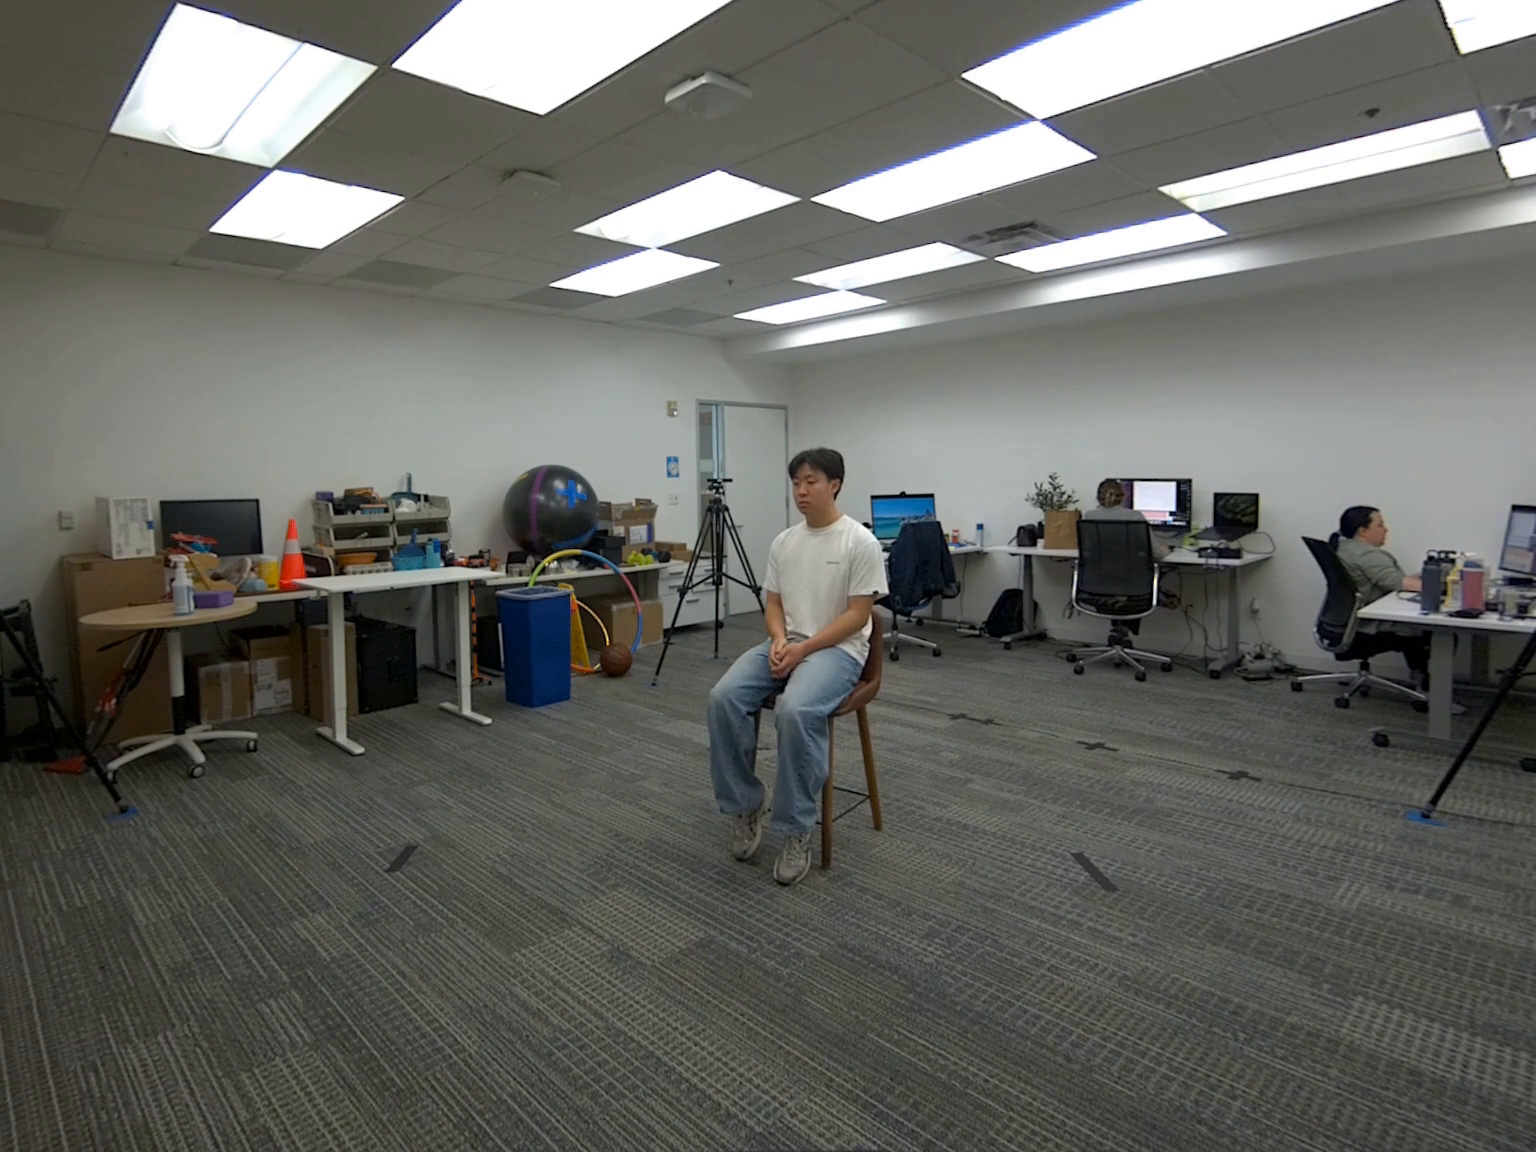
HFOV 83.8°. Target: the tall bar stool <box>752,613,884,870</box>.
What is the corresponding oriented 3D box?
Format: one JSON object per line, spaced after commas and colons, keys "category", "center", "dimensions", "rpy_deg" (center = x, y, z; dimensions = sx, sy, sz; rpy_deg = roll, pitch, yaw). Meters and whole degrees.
{"category": "tall bar stool", "center": [0.186, 0.582, 3.325], "dimensions": [0.470, 0.888, 0.455], "rpy_deg": [4, 3, 36]}
